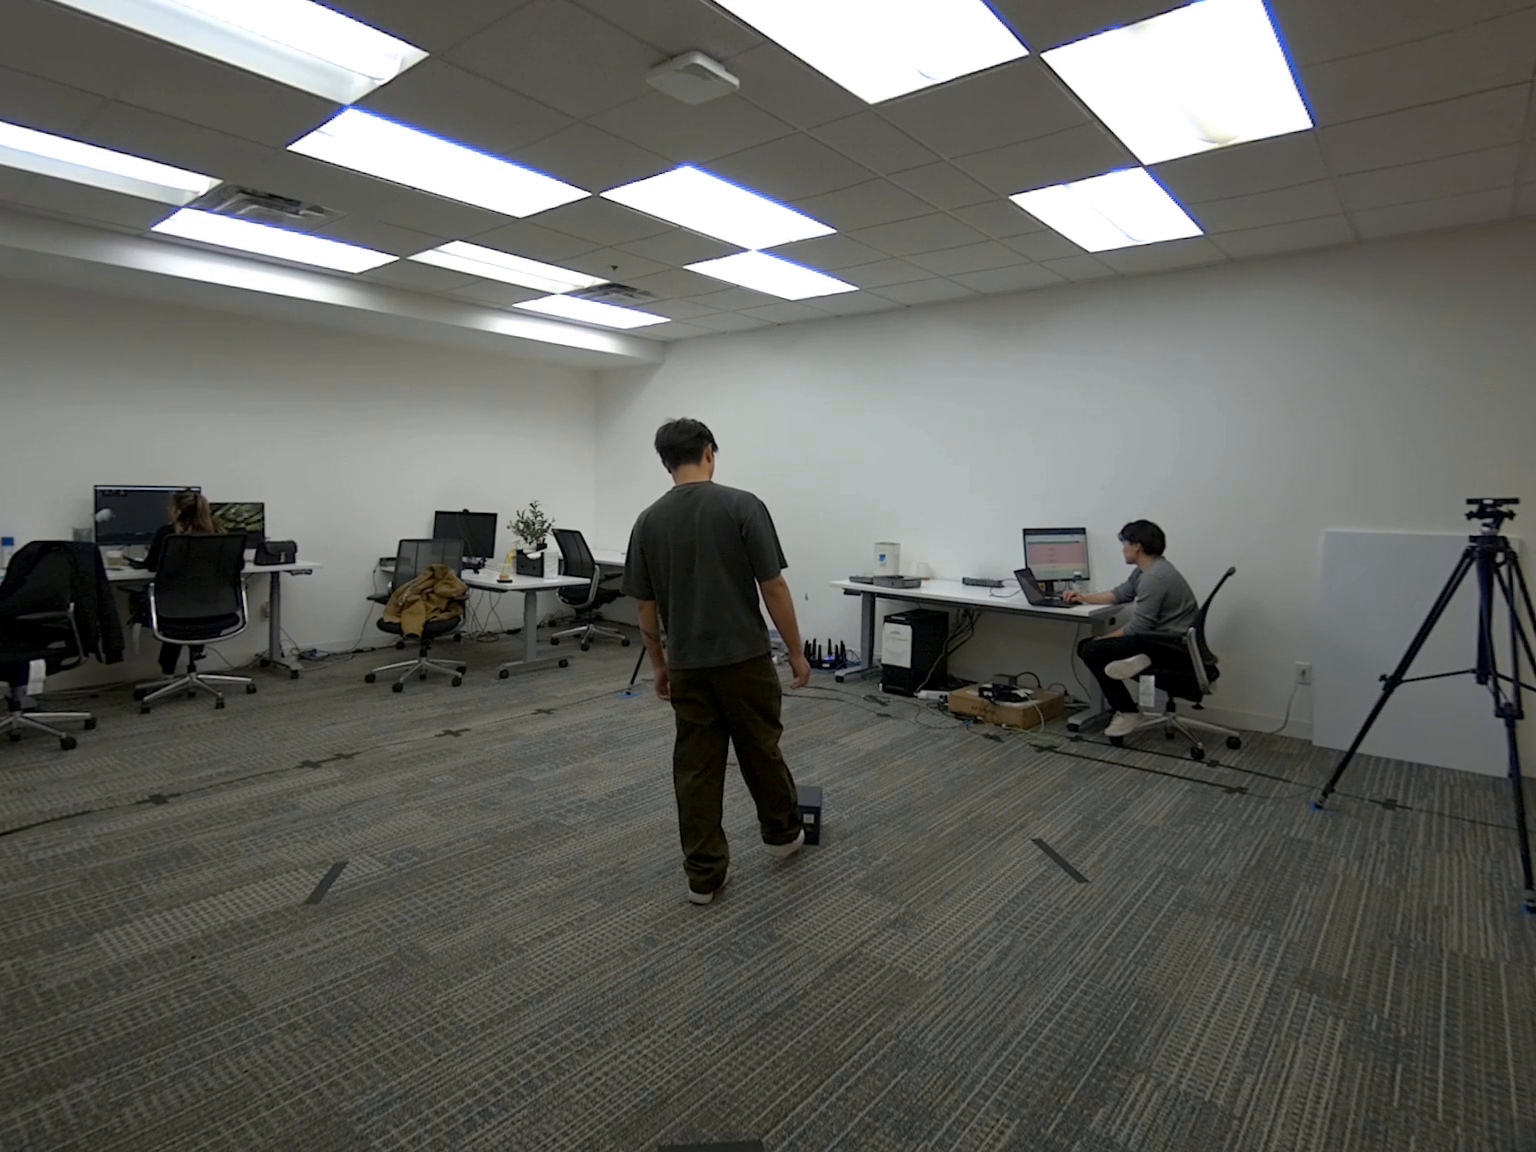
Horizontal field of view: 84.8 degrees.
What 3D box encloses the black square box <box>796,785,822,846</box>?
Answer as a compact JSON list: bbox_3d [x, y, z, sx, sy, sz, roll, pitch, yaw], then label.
[{"bbox_3d":[0.102,0.950,3.451,0.219,0.155,0.227,2,5,7],"label":"black square box"}]
